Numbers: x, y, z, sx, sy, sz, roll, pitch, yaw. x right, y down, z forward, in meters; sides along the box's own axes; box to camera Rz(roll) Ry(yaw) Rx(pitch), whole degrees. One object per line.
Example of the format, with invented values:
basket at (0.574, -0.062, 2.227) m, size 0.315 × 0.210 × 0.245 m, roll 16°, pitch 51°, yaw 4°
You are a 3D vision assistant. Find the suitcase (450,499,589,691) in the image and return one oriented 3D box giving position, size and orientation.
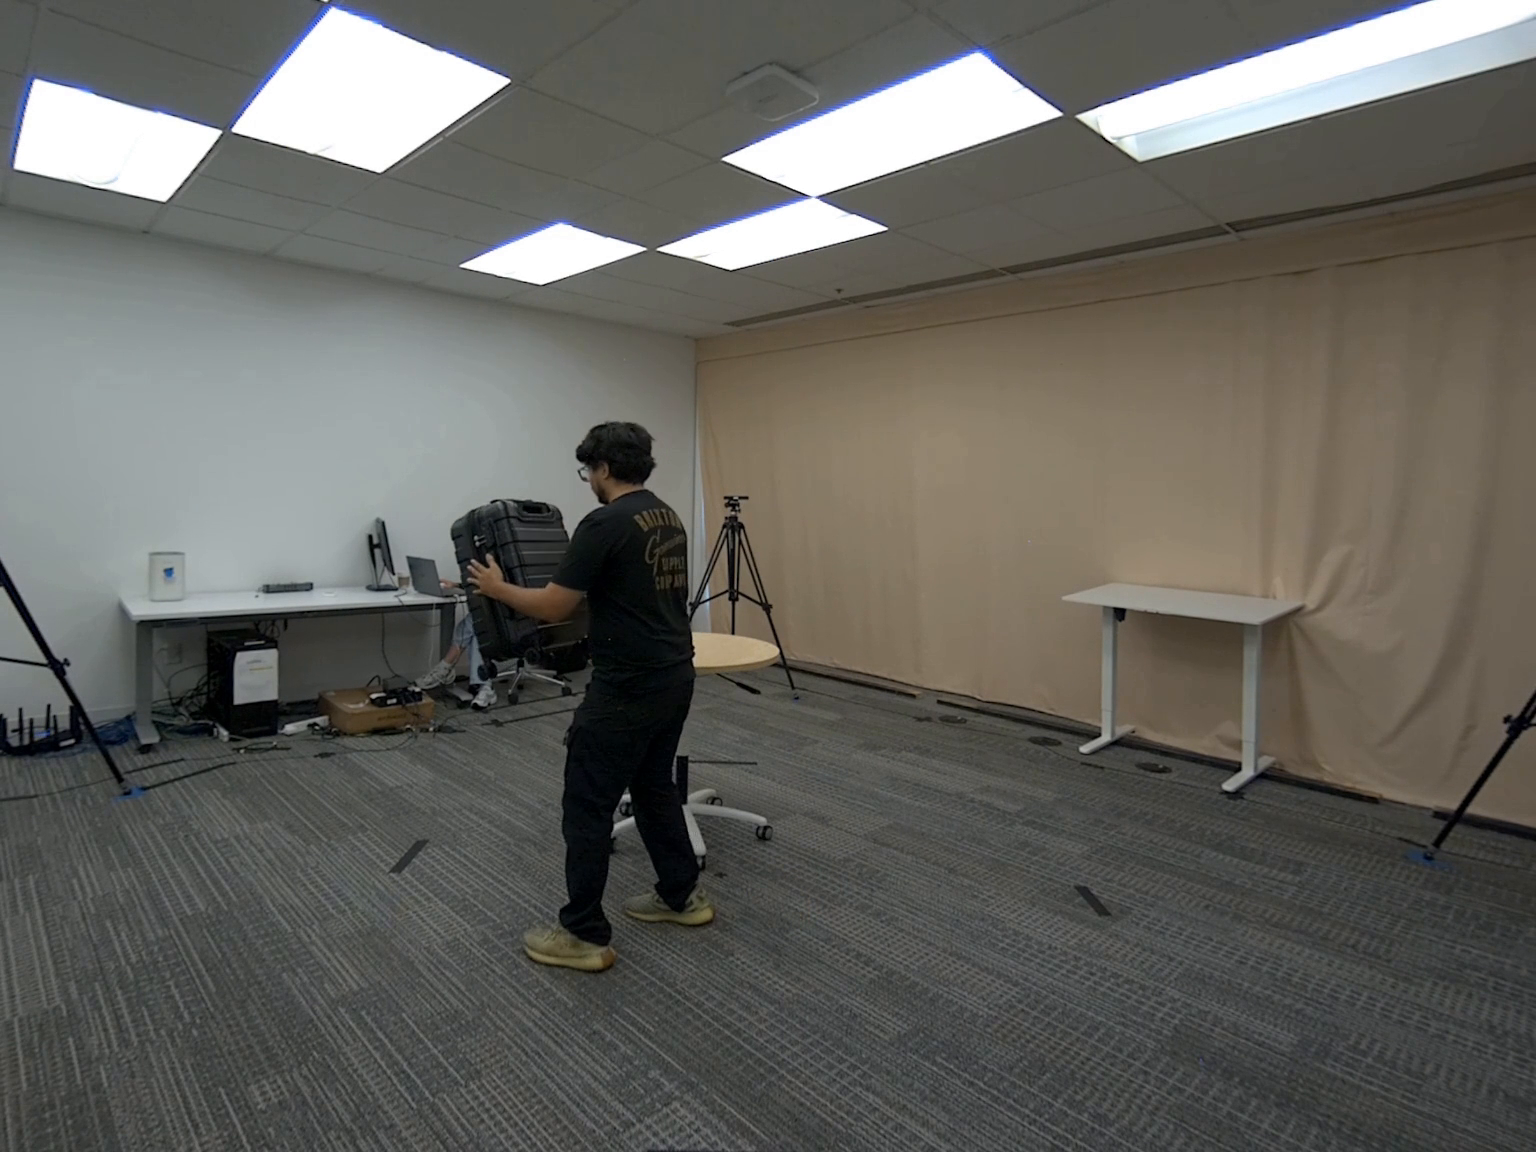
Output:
suitcase at (-0.813, 0.025, 2.789) m, size 0.251 × 0.553 × 0.369 m, roll -20°, pitch -7°, yaw 24°
